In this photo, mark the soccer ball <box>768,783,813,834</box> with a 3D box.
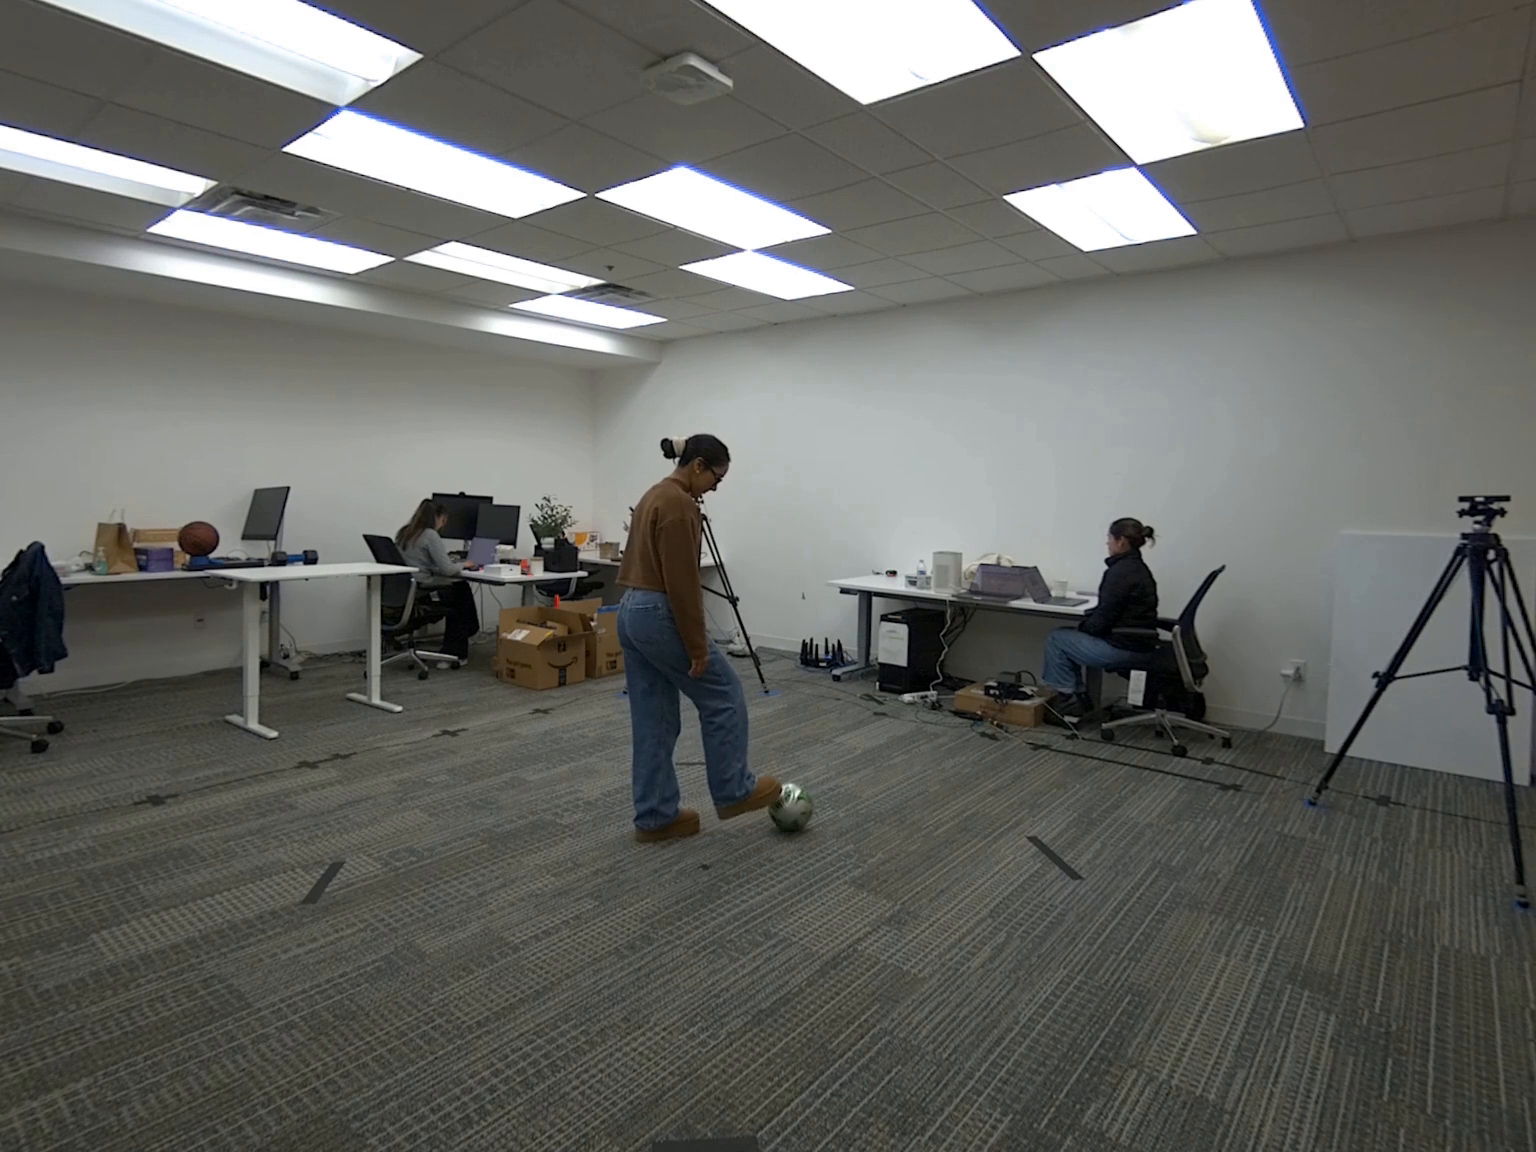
[{"bbox_3d":[0.079,0.946,3.476,0.187,0.187,0.188,1,4,-2],"label":"soccer ball"}]
